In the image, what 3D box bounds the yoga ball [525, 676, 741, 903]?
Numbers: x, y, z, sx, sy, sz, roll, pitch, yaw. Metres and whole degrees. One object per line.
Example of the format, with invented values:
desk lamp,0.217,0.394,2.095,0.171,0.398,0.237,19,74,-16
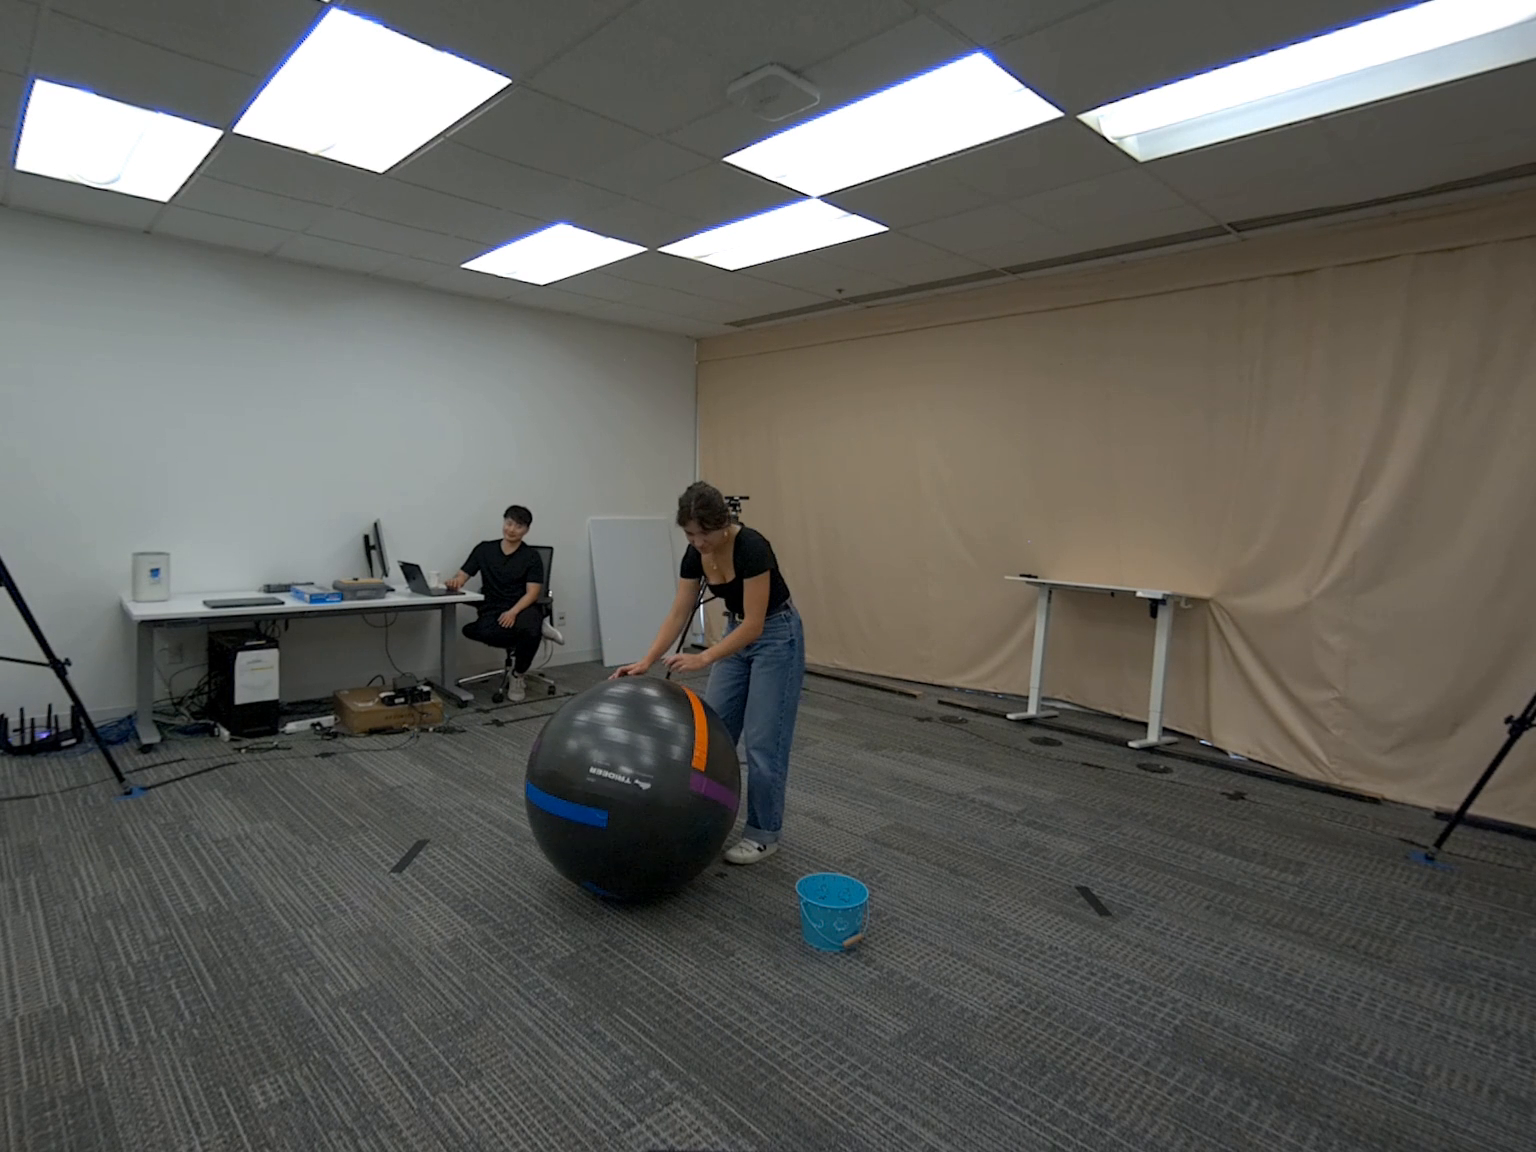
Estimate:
yoga ball,-0.480,0.741,2.967,0.757,0.756,0.761,1,4,-1
